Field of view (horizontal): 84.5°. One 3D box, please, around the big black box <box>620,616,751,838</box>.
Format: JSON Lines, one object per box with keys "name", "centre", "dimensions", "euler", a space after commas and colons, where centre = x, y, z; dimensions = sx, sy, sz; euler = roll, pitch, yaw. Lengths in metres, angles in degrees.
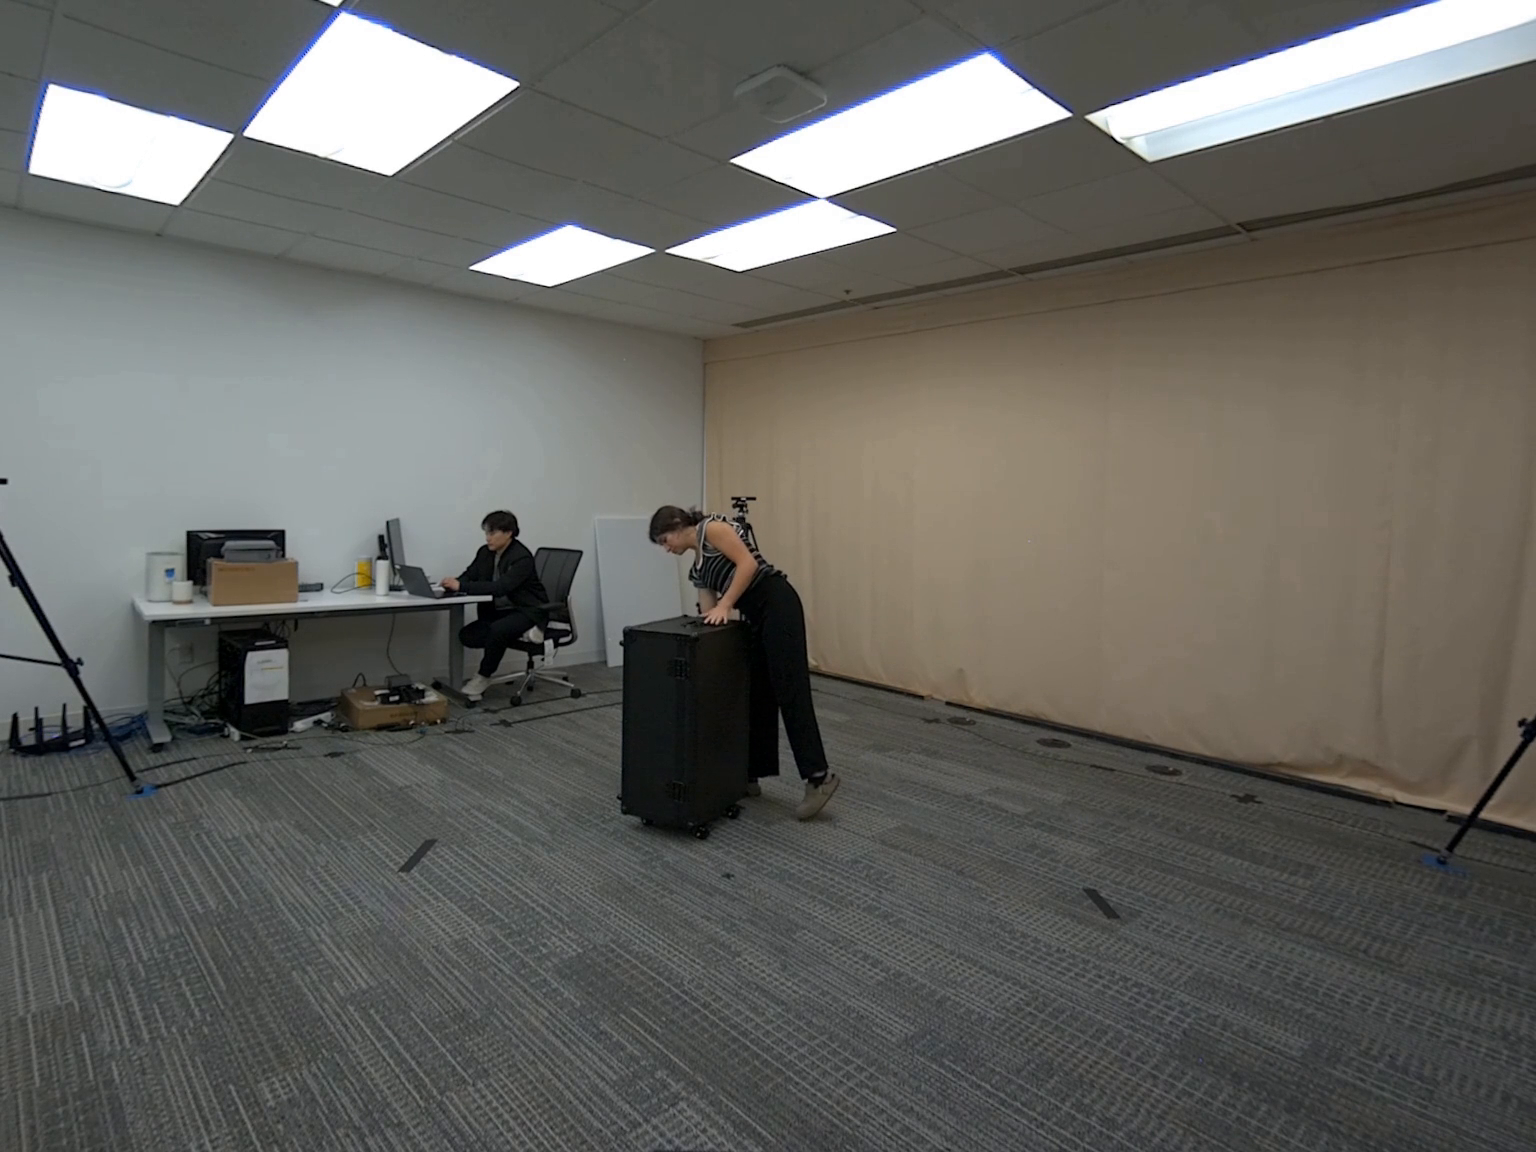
{"name": "big black box", "centre": [-0.365, 0.633, 3.618], "dimensions": [0.404, 0.860, 0.511], "euler": [1, 2, 28]}
